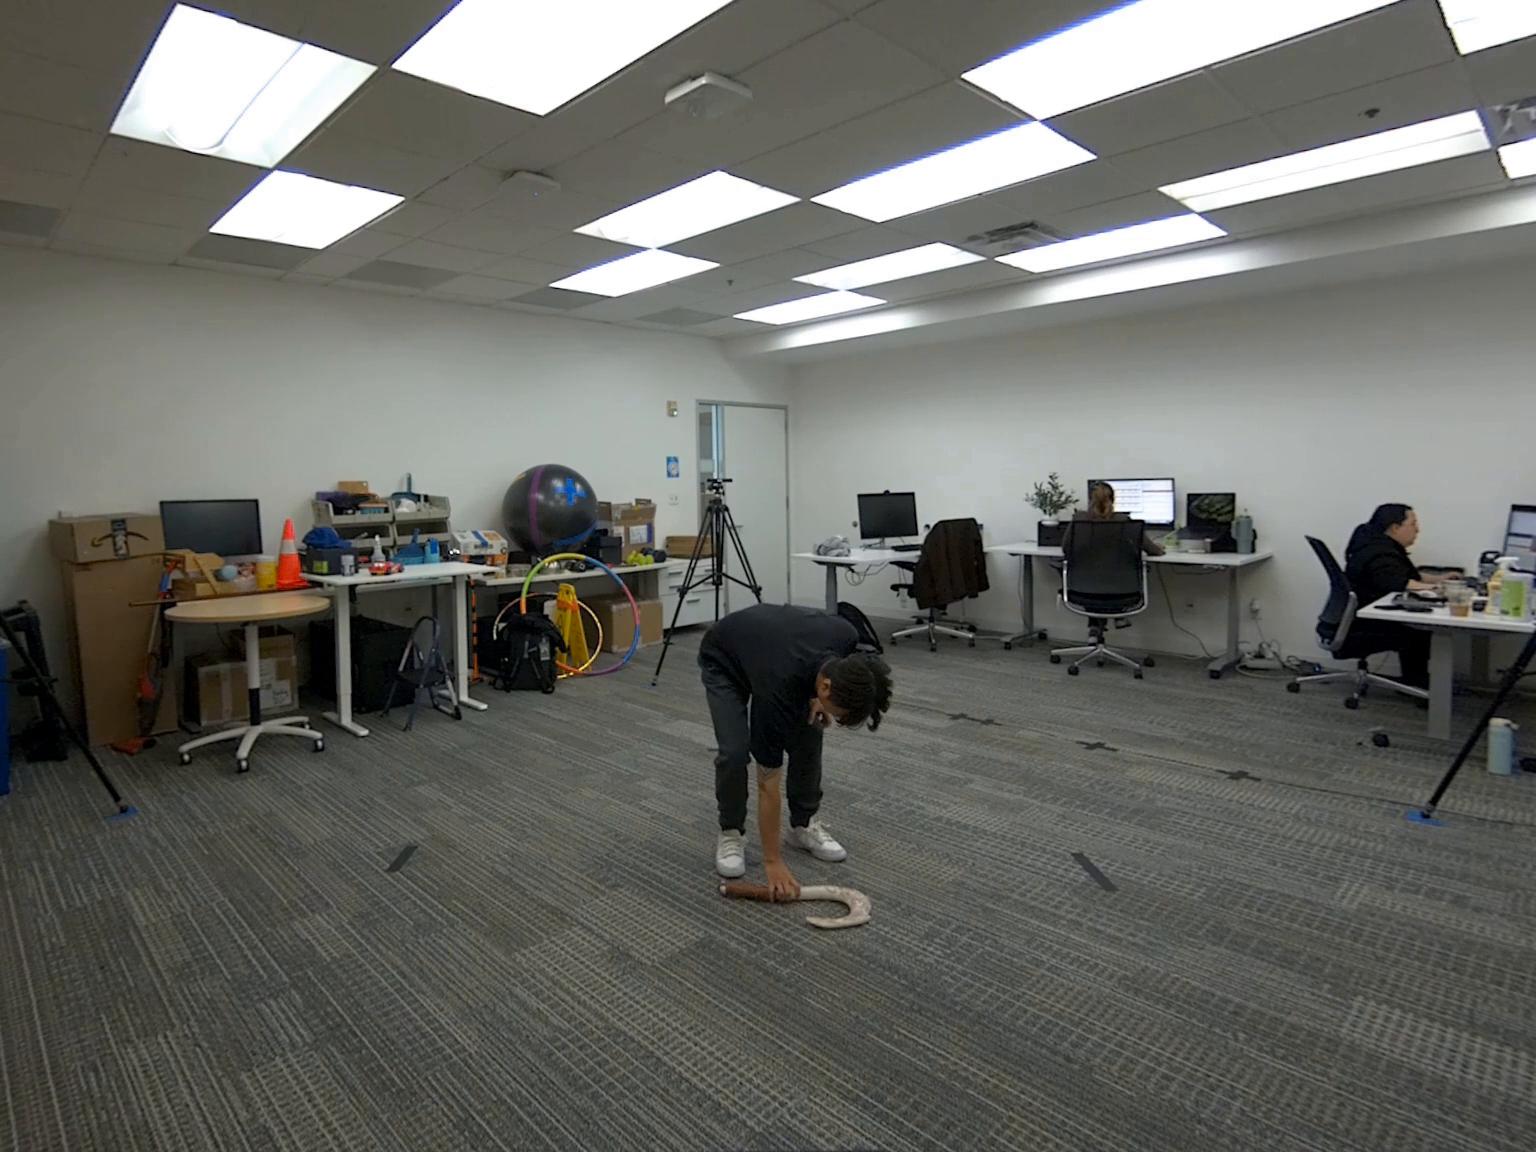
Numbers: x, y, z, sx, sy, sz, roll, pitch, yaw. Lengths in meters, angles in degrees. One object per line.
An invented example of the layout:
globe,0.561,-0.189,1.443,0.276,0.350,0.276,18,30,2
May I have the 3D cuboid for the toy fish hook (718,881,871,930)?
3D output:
toy fish hook,0.080,1.053,2.772,0.513,0.048,0.222,-1,4,12
